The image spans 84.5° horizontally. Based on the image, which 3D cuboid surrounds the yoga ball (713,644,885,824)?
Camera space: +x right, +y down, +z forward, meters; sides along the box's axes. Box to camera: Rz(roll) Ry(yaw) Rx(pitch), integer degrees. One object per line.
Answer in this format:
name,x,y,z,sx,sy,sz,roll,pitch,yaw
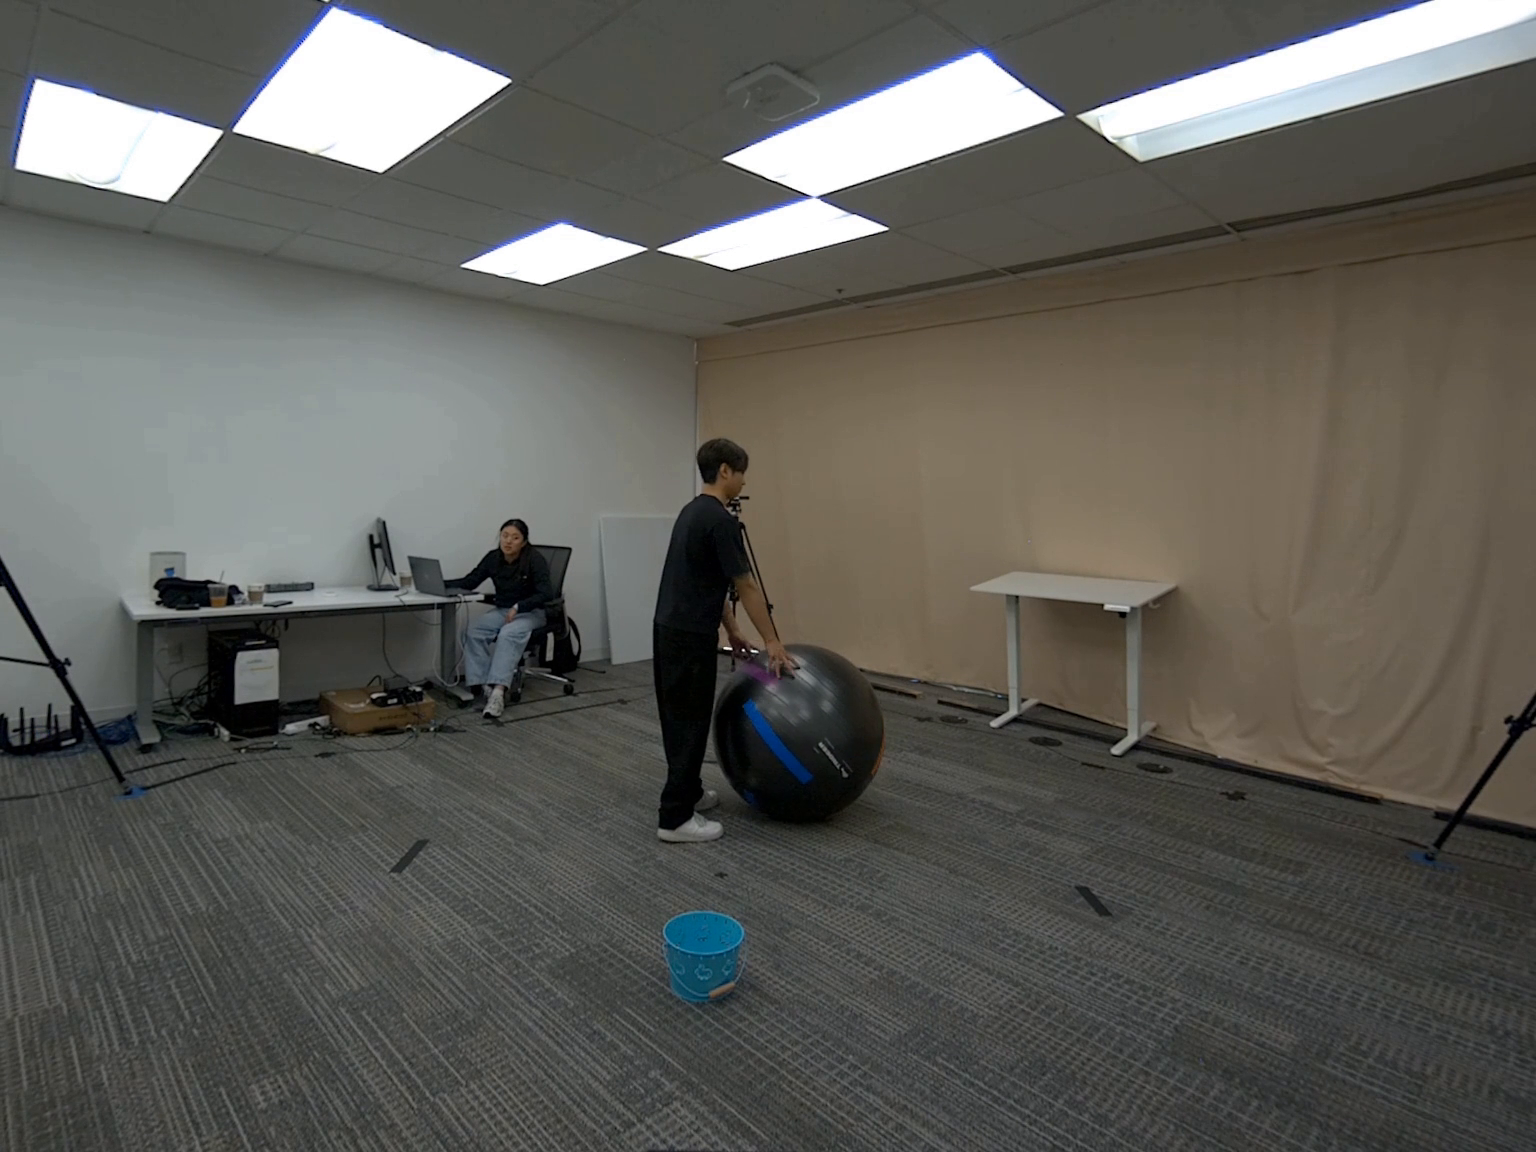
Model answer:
yoga ball,0.127,0.685,3.730,0.757,0.756,0.761,1,4,-1
